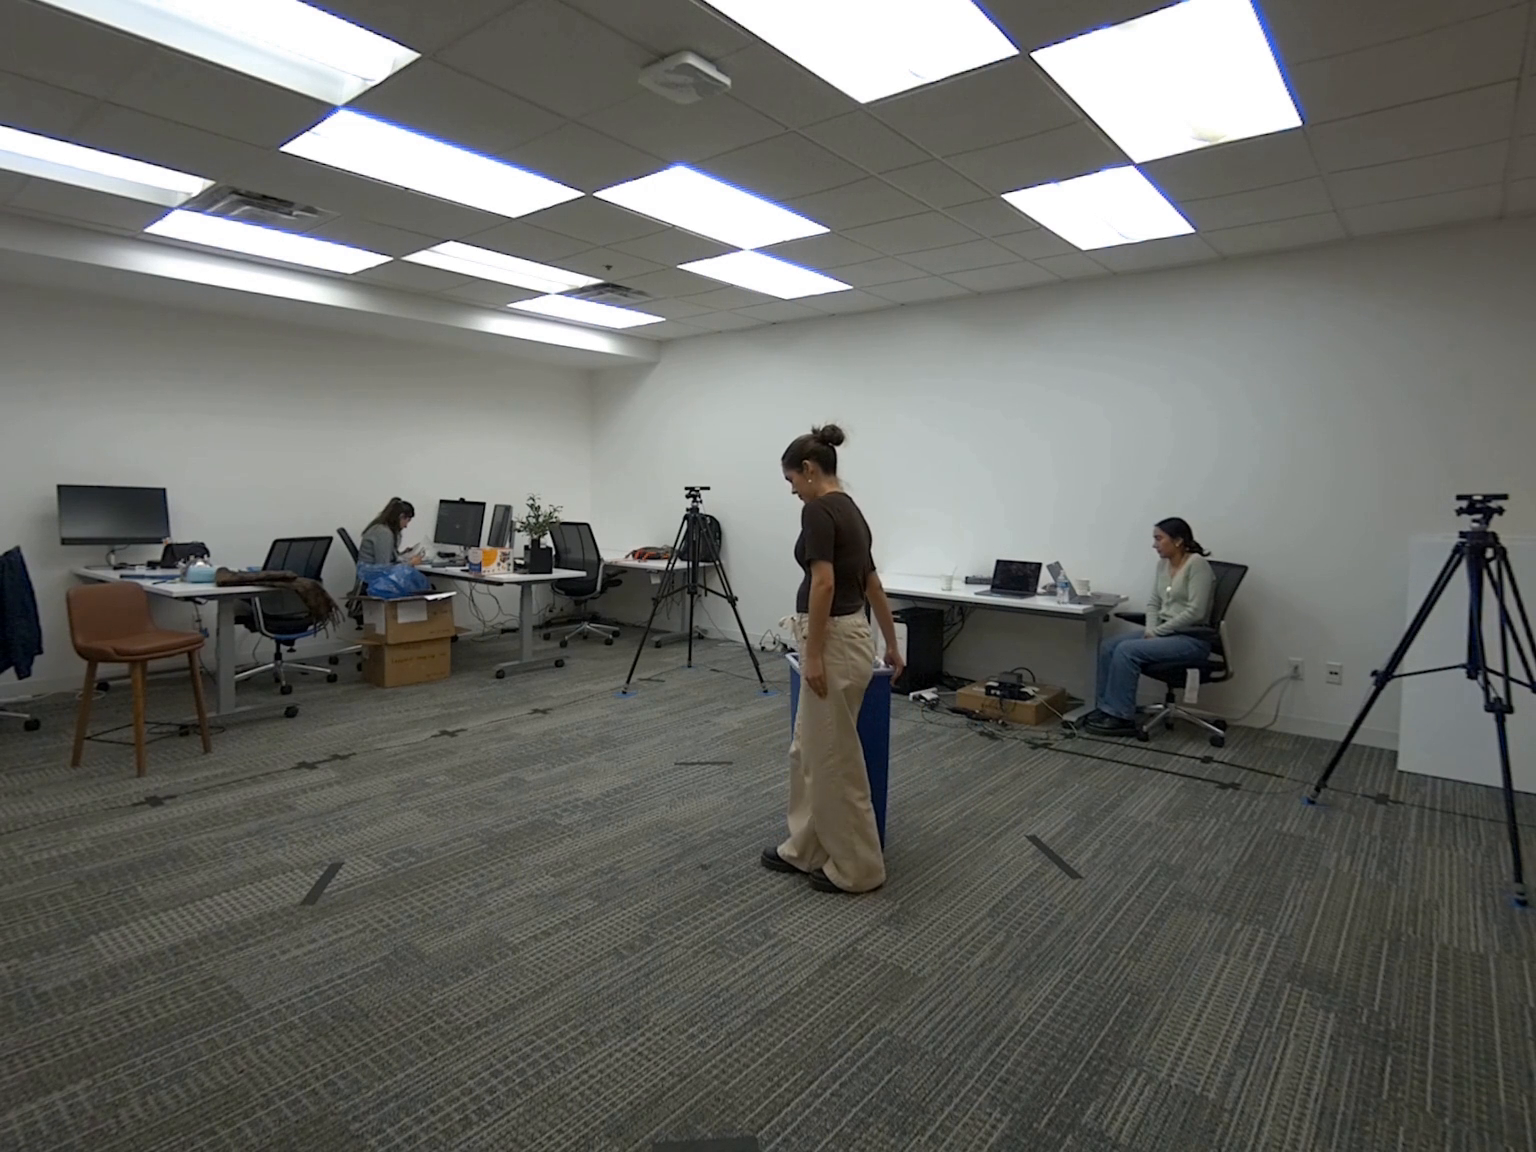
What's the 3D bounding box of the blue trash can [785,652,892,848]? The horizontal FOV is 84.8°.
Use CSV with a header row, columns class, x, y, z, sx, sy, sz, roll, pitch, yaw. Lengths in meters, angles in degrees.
class,x,y,z,sx,sy,sz,roll,pitch,yaw
blue trash can,0.273,0.687,3.389,0.375,0.711,0.379,0,4,-9
